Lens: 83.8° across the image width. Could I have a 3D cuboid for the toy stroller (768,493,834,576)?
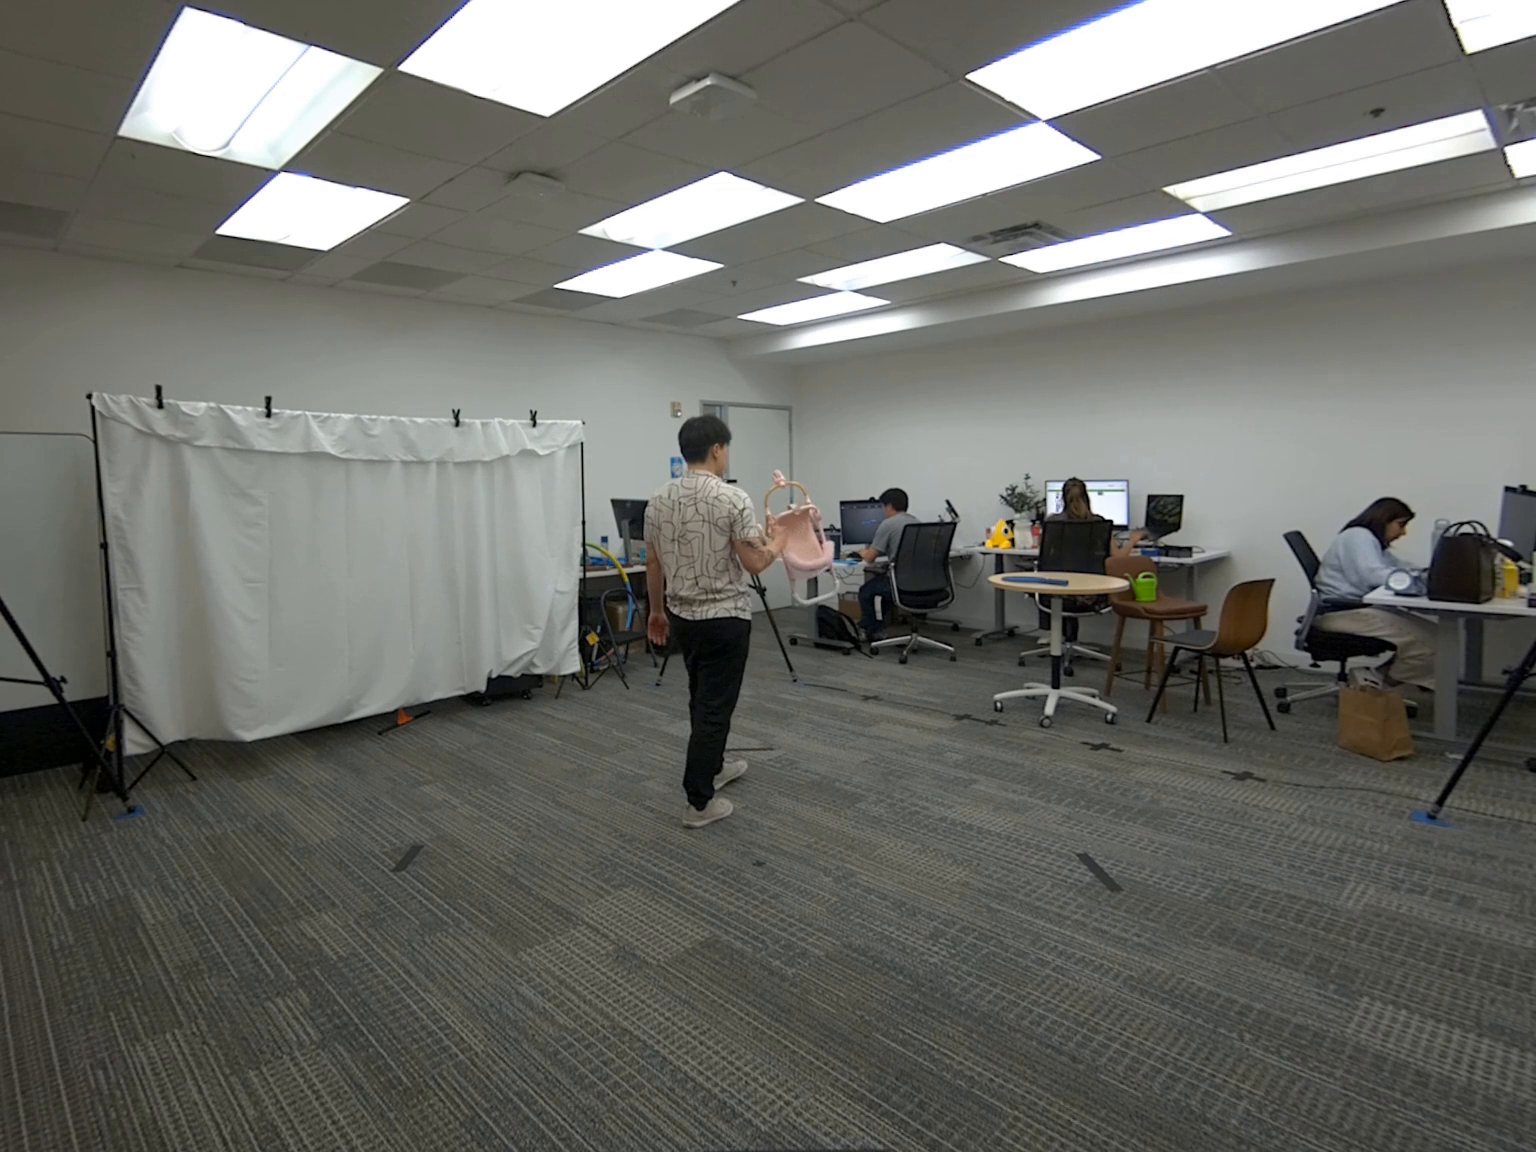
[{"bbox_3d":[0.132,-0.183,3.702,0.279,0.332,0.554,-14,49,-11],"label":"toy stroller"}]
